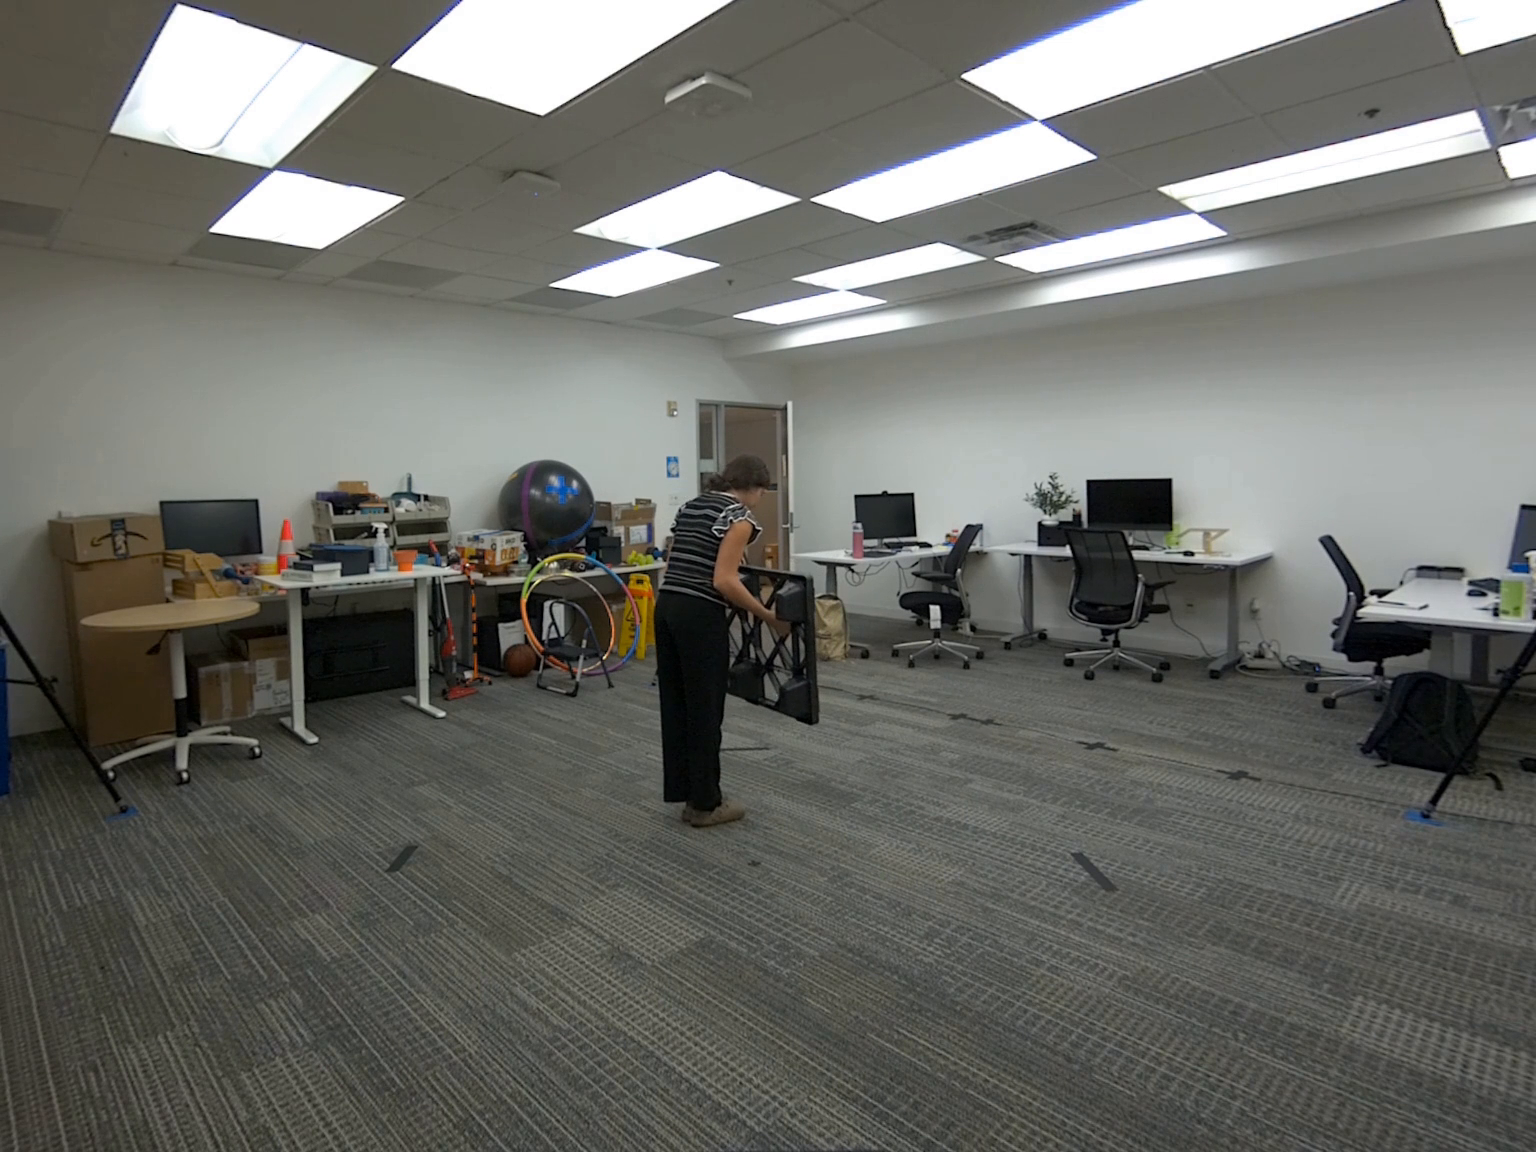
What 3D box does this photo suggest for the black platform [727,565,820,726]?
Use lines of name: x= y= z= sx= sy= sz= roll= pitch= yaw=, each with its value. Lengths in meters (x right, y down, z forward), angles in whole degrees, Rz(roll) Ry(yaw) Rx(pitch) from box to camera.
black platform: x=-0.105 y=0.259 z=3.629 sx=0.140 sy=0.600 sz=0.831 roll=-9 pitch=11 yaw=-37
